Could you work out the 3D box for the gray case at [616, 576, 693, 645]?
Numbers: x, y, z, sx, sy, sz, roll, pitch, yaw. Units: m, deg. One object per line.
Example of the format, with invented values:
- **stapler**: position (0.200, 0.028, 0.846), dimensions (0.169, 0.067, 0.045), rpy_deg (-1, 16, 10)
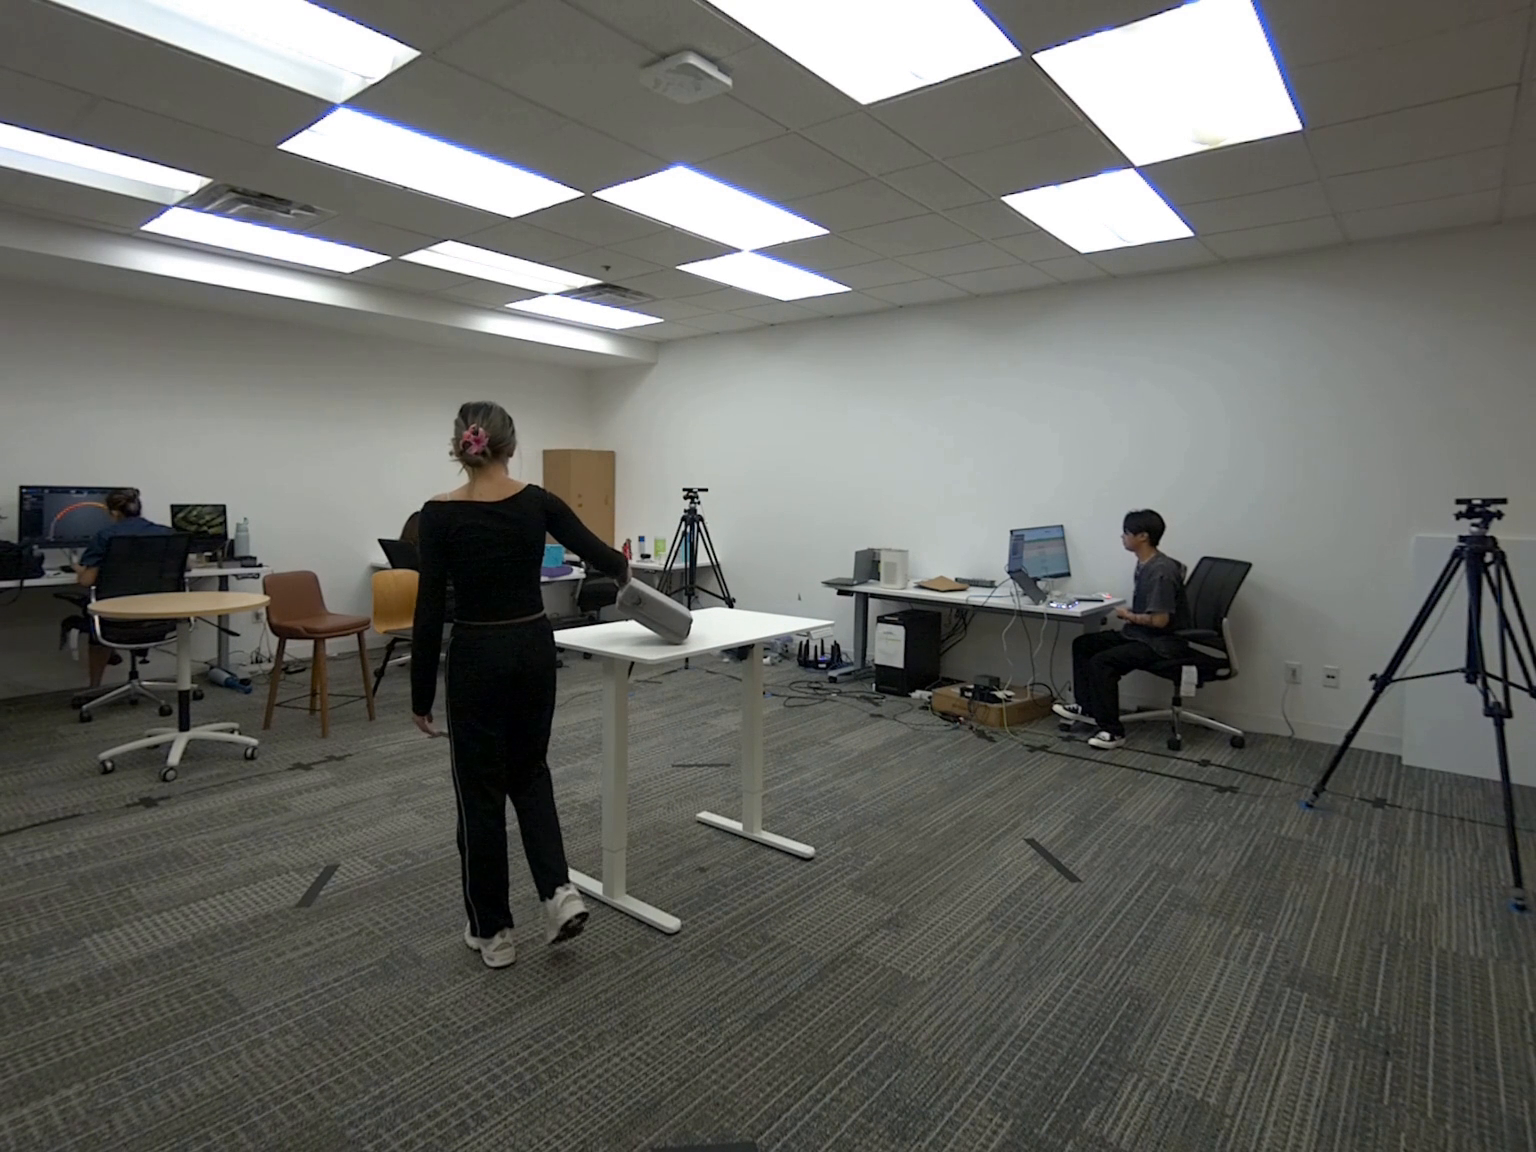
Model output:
- **gray case**: position (-0.385, 0.104, 2.844), dimensions (0.258, 0.104, 0.259), rpy_deg (33, -2, -8)
